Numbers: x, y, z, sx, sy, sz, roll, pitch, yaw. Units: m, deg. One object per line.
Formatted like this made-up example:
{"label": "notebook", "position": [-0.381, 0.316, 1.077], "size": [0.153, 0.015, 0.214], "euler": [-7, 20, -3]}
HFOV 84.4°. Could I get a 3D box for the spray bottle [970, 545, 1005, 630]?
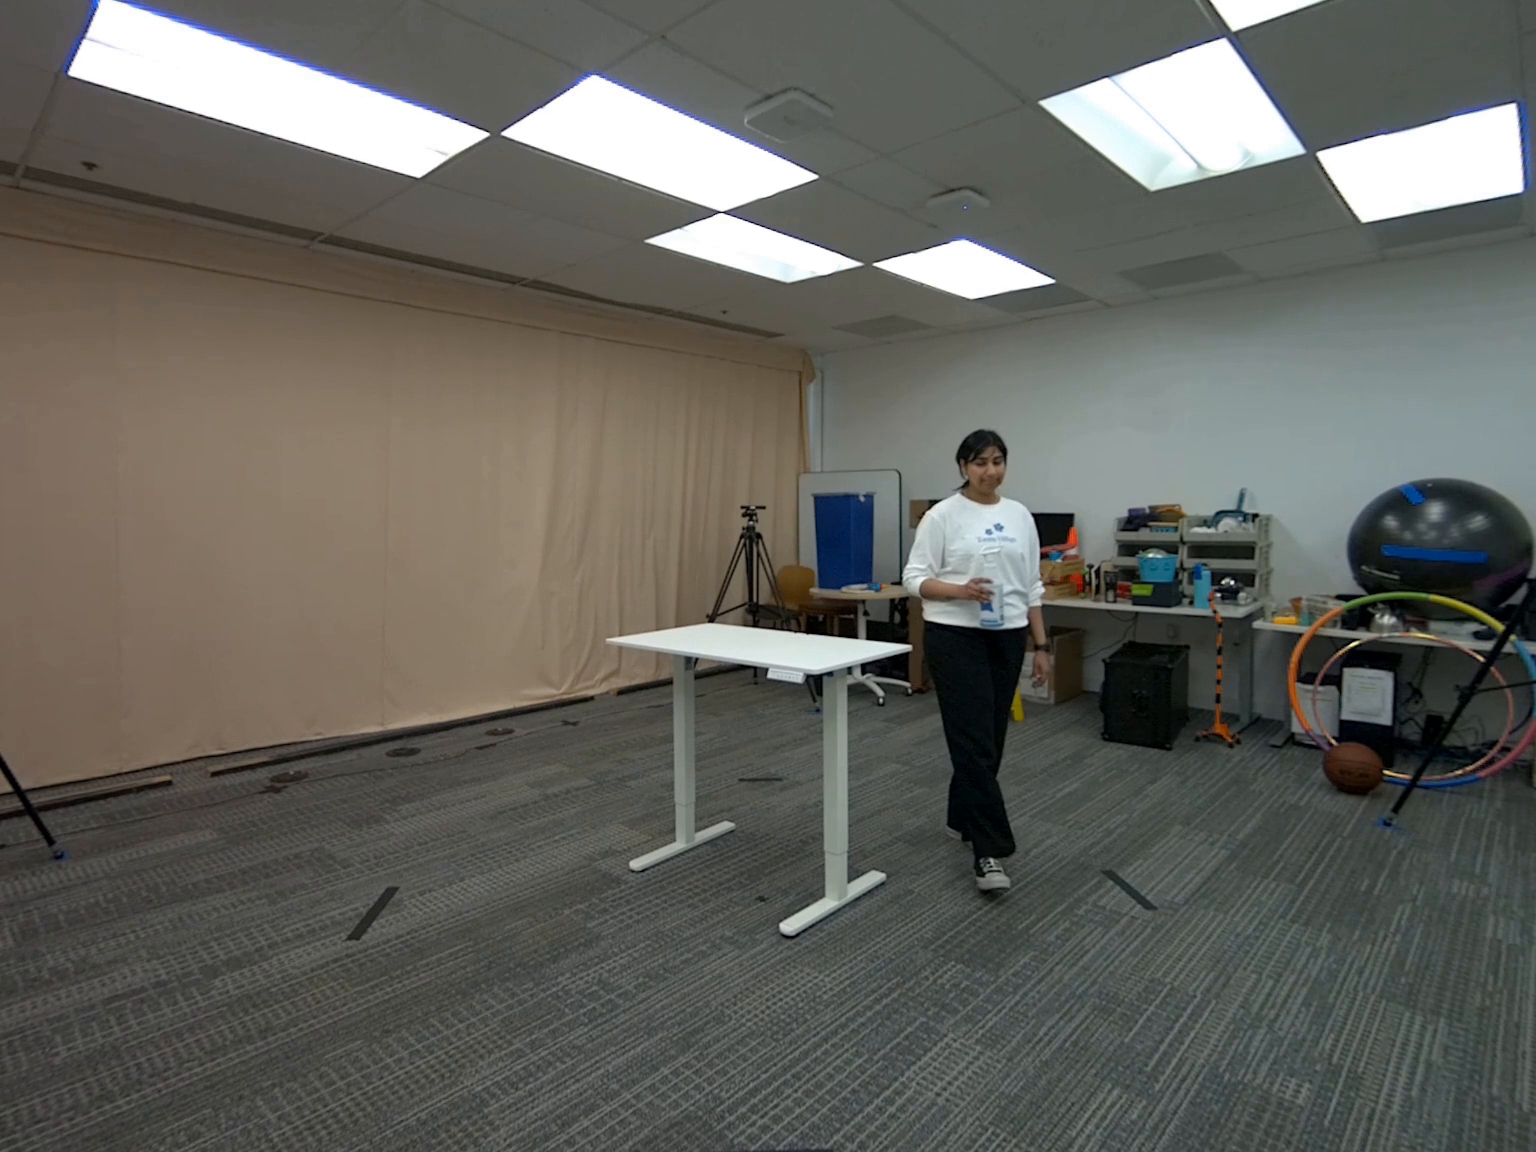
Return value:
{"label": "spray bottle", "position": [0.818, 0.038, 3.068], "size": [0.092, 0.297, 0.085], "euler": [-2, 2, 21]}
